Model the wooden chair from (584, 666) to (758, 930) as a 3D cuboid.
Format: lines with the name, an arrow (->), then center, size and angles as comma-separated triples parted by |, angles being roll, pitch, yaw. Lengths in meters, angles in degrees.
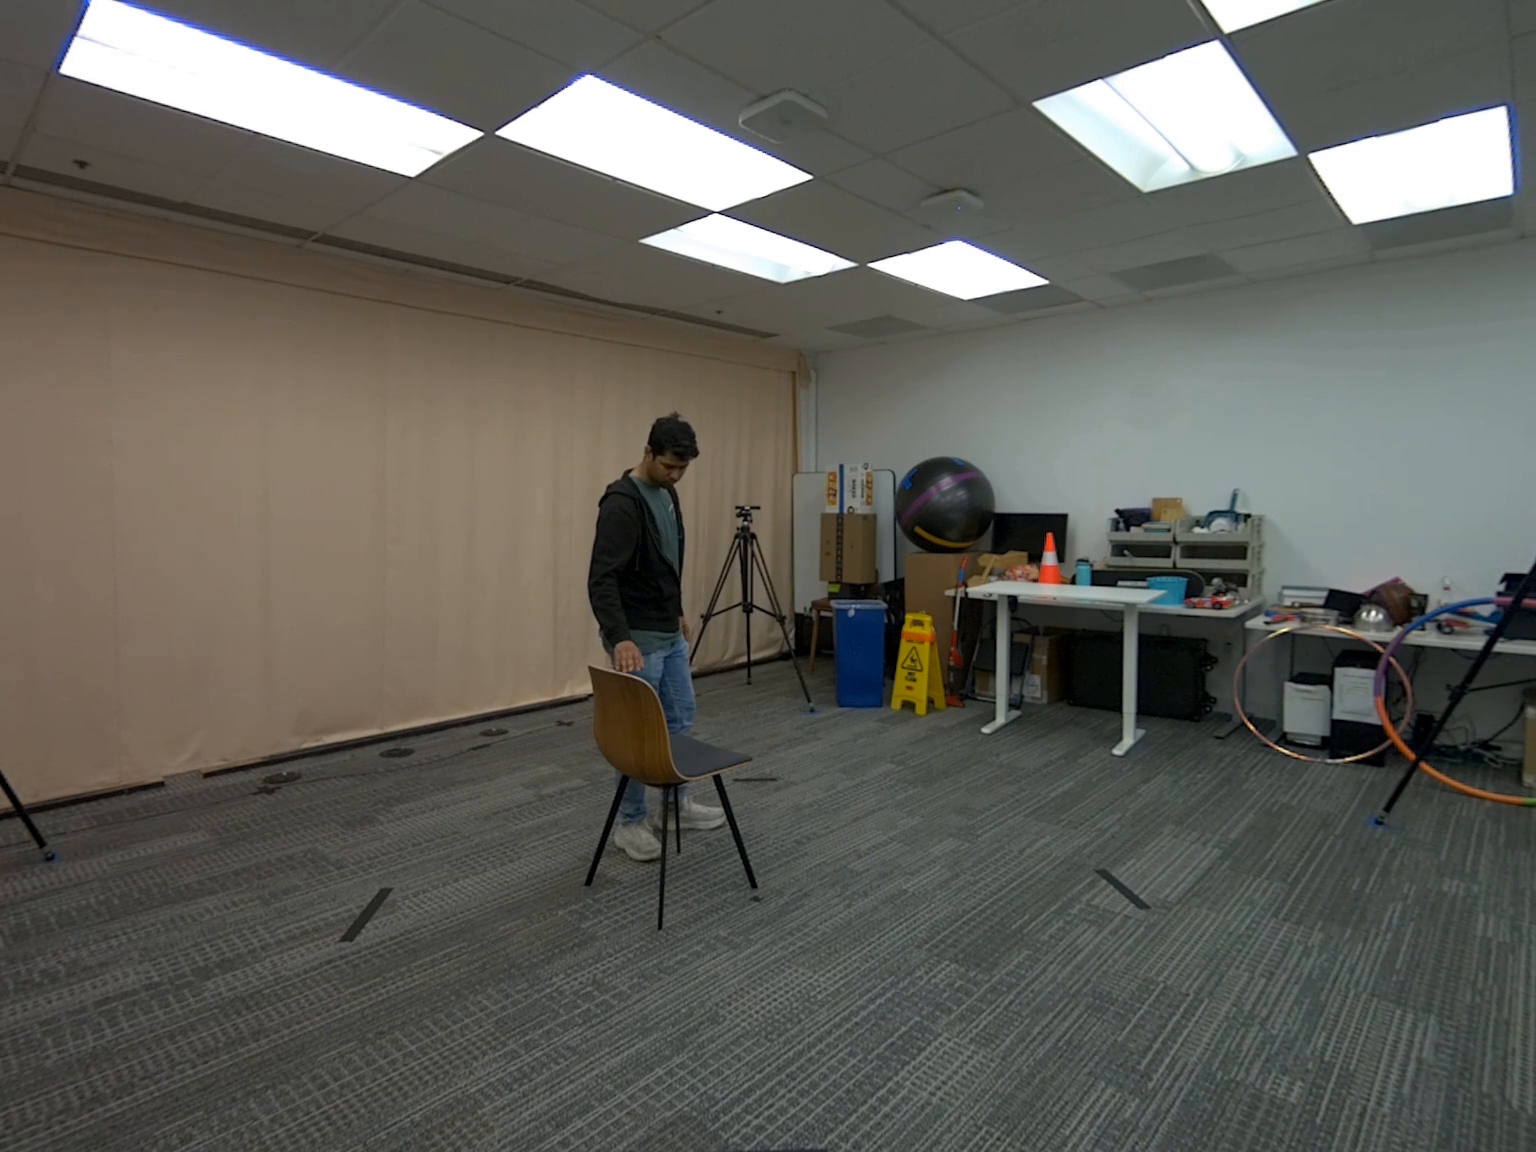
wooden chair -> -0.345, 0.712, 3.054 | 0.508, 0.874, 0.494 | -9, 8, -43
